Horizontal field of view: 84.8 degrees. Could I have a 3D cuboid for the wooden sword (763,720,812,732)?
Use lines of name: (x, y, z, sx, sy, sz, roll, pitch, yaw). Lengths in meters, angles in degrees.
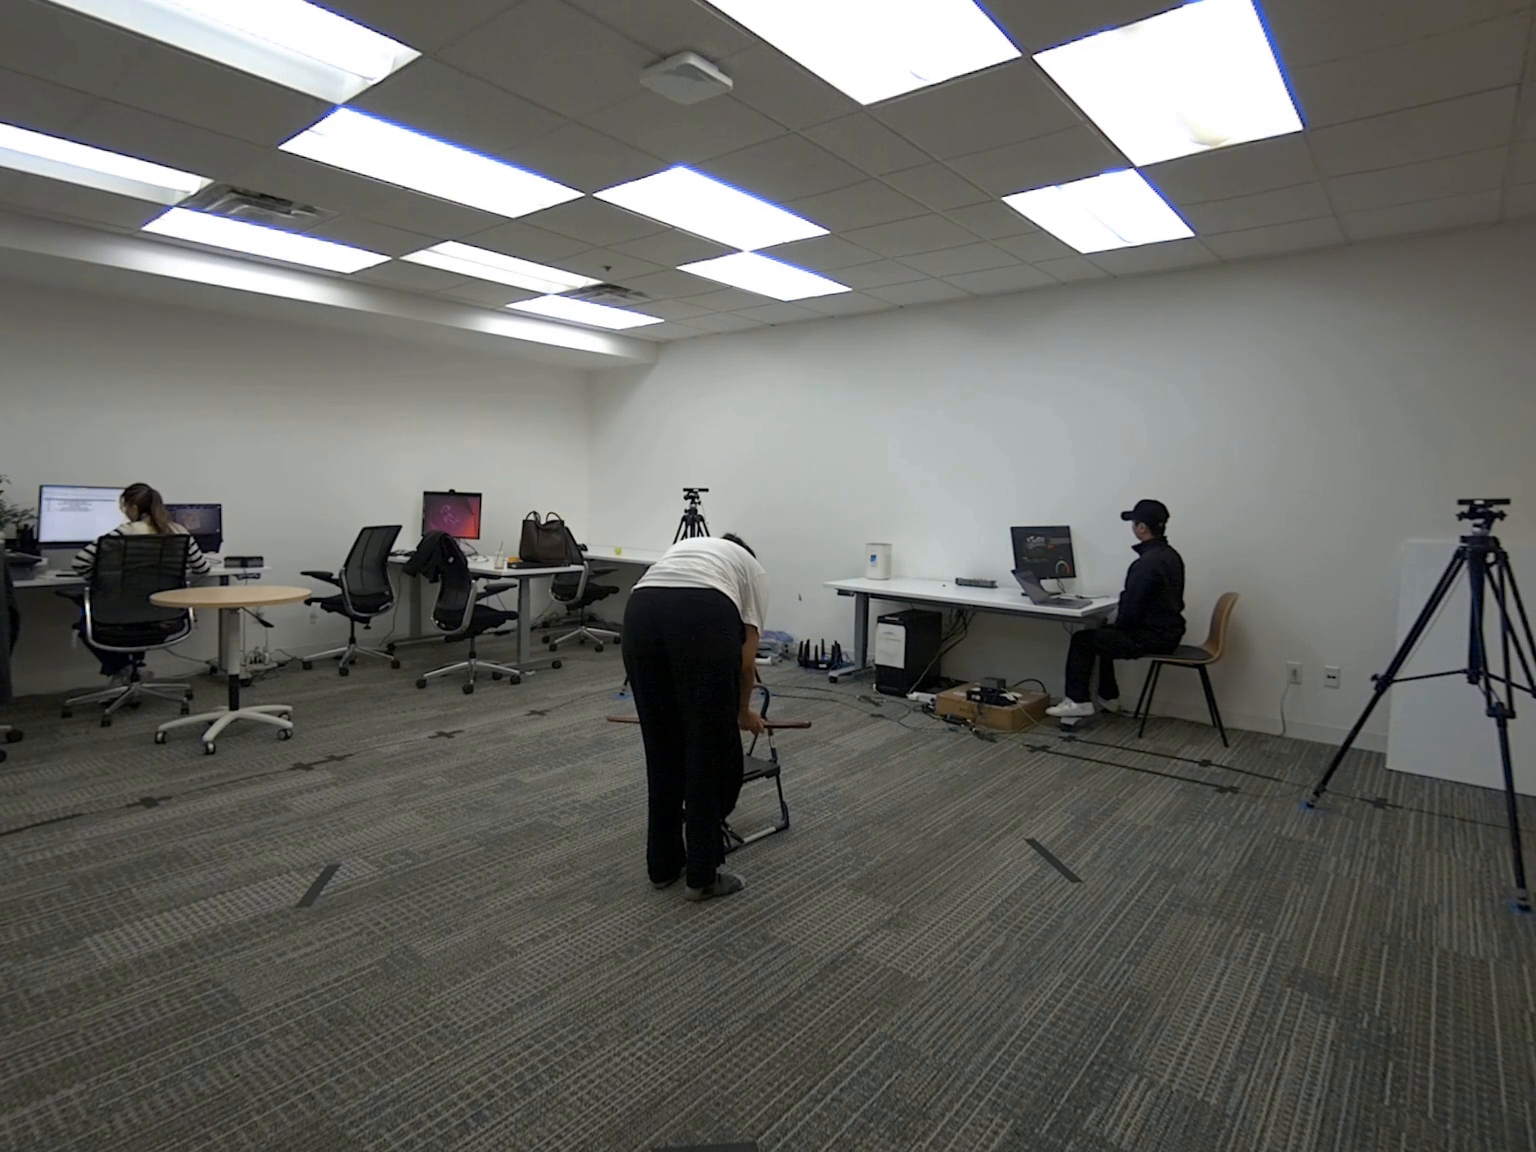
wooden sword: (-0.306, 0.592, 3.500, 1.052, 0.052, 0.023, -4, -18, 33)
